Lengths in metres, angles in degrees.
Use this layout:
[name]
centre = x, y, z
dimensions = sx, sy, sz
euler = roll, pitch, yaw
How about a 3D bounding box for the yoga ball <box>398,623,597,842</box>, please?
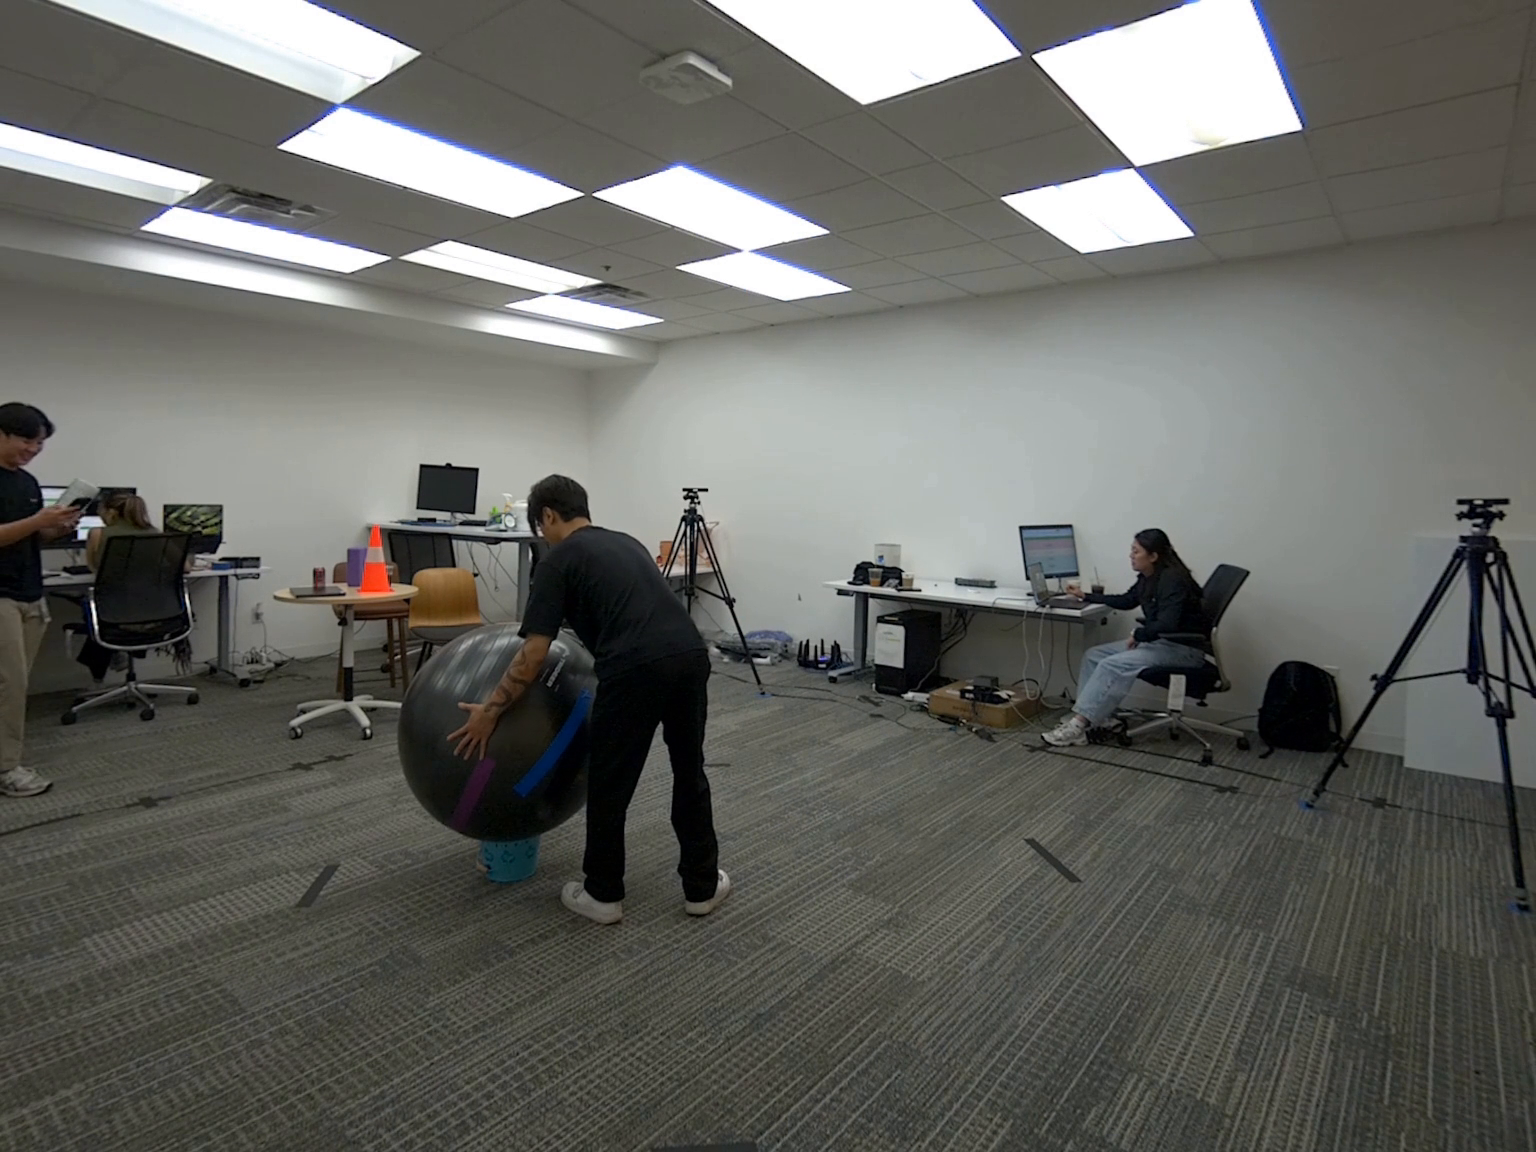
[yoga ball]
centre = -0.947, 0.559, 3.050
dimensions = 0.757, 0.755, 0.762
euler = 1, 4, -2
